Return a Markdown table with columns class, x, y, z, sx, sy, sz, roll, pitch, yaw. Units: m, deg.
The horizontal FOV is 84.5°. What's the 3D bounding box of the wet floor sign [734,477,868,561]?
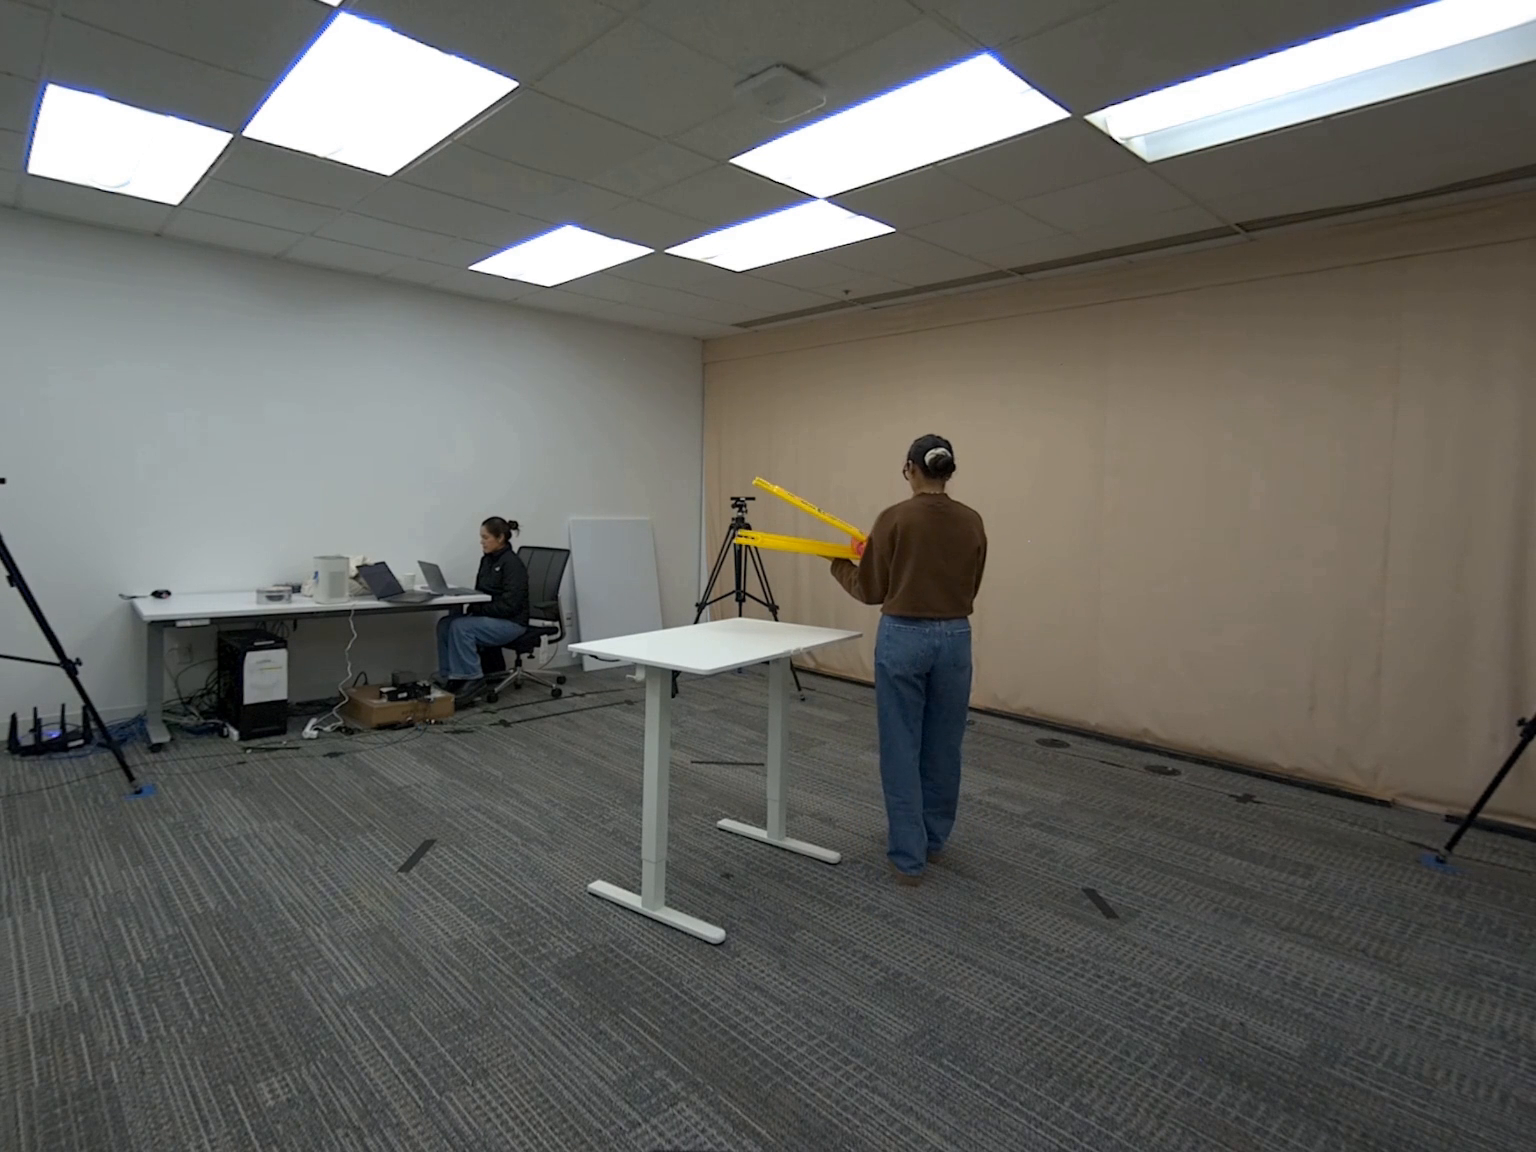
| class | x | y | z | sx | sy | sz | roll | pitch | yaw |
| --- | --- | --- | --- | --- | --- | --- | --- | --- | --- |
| wet floor sign | 0.214 | -0.173 | 3.383 | 0.645 | 0.288 | 0.284 | 16 | 12 | -1 |
